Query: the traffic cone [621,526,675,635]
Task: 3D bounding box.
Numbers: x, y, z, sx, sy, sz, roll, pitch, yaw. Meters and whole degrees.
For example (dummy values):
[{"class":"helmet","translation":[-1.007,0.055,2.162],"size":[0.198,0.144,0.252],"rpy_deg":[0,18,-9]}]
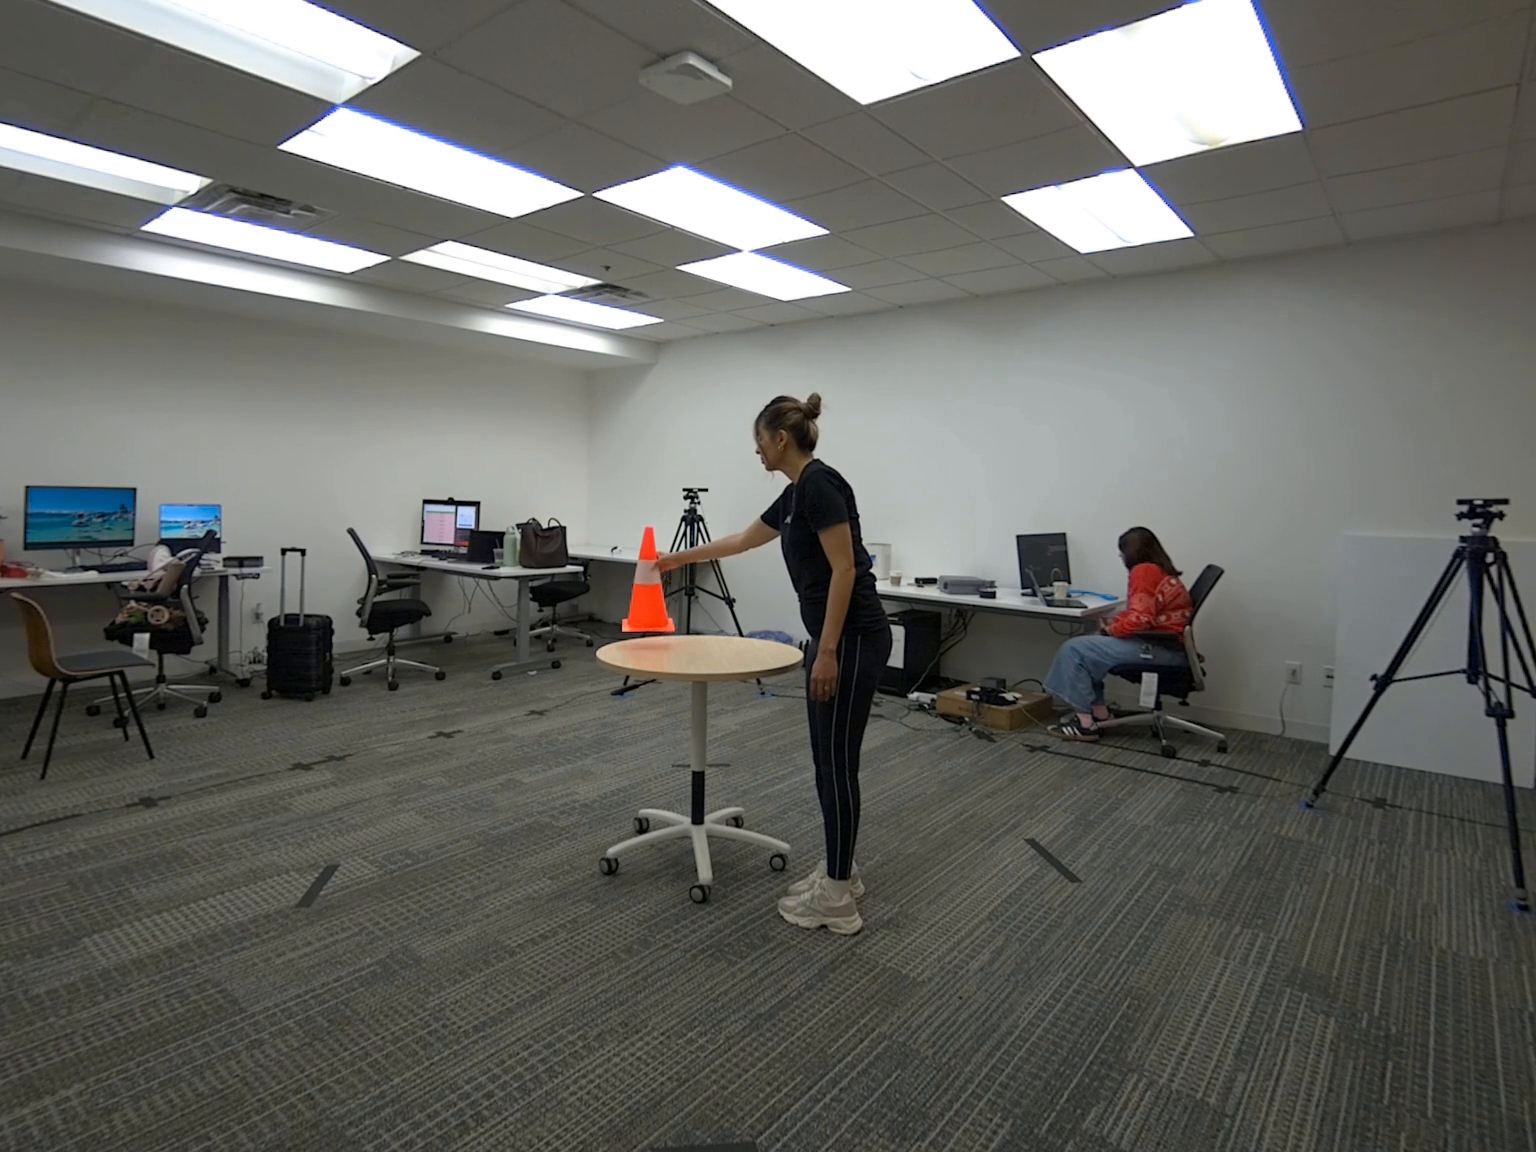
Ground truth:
[{"class":"traffic cone","translation":[-0.467,-0.009,3.245],"size":[0.202,0.381,0.207],"rpy_deg":[2,7,-14]}]
